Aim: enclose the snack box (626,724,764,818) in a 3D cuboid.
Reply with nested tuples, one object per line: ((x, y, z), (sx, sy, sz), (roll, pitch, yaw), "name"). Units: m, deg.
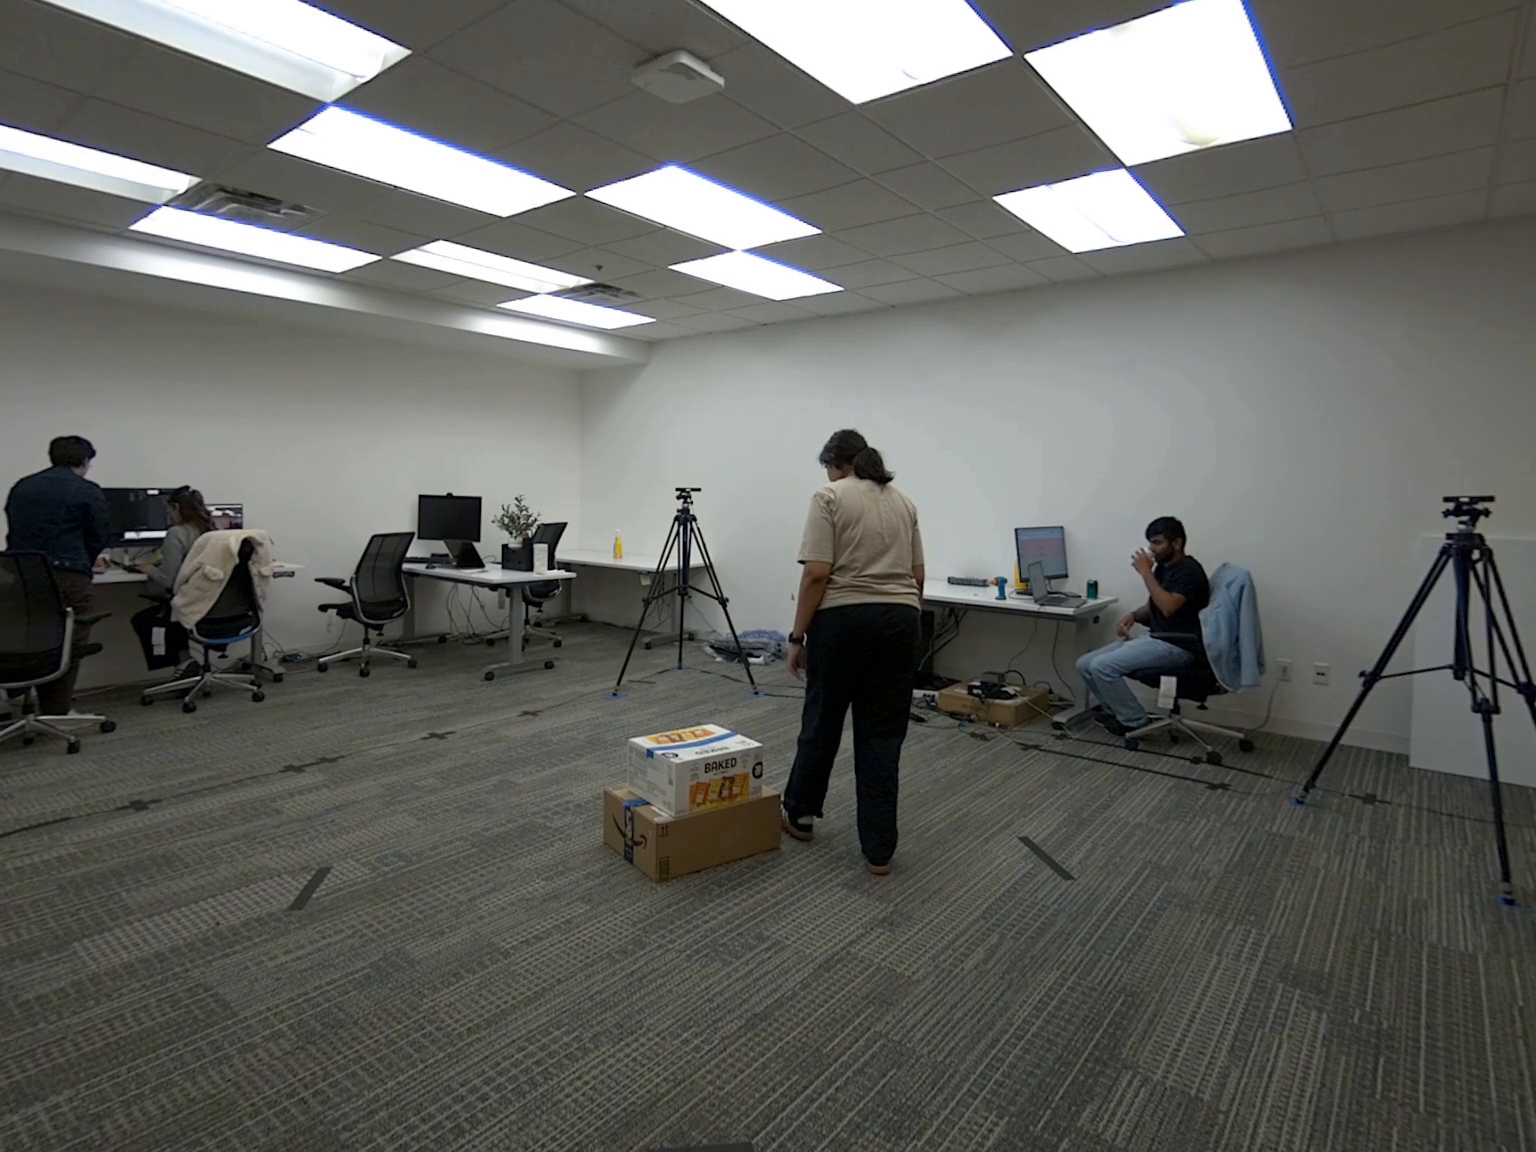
((-0.293, 0.737, 3.273), (0.393, 0.205, 0.352), (-3, 6, -38), "snack box")
